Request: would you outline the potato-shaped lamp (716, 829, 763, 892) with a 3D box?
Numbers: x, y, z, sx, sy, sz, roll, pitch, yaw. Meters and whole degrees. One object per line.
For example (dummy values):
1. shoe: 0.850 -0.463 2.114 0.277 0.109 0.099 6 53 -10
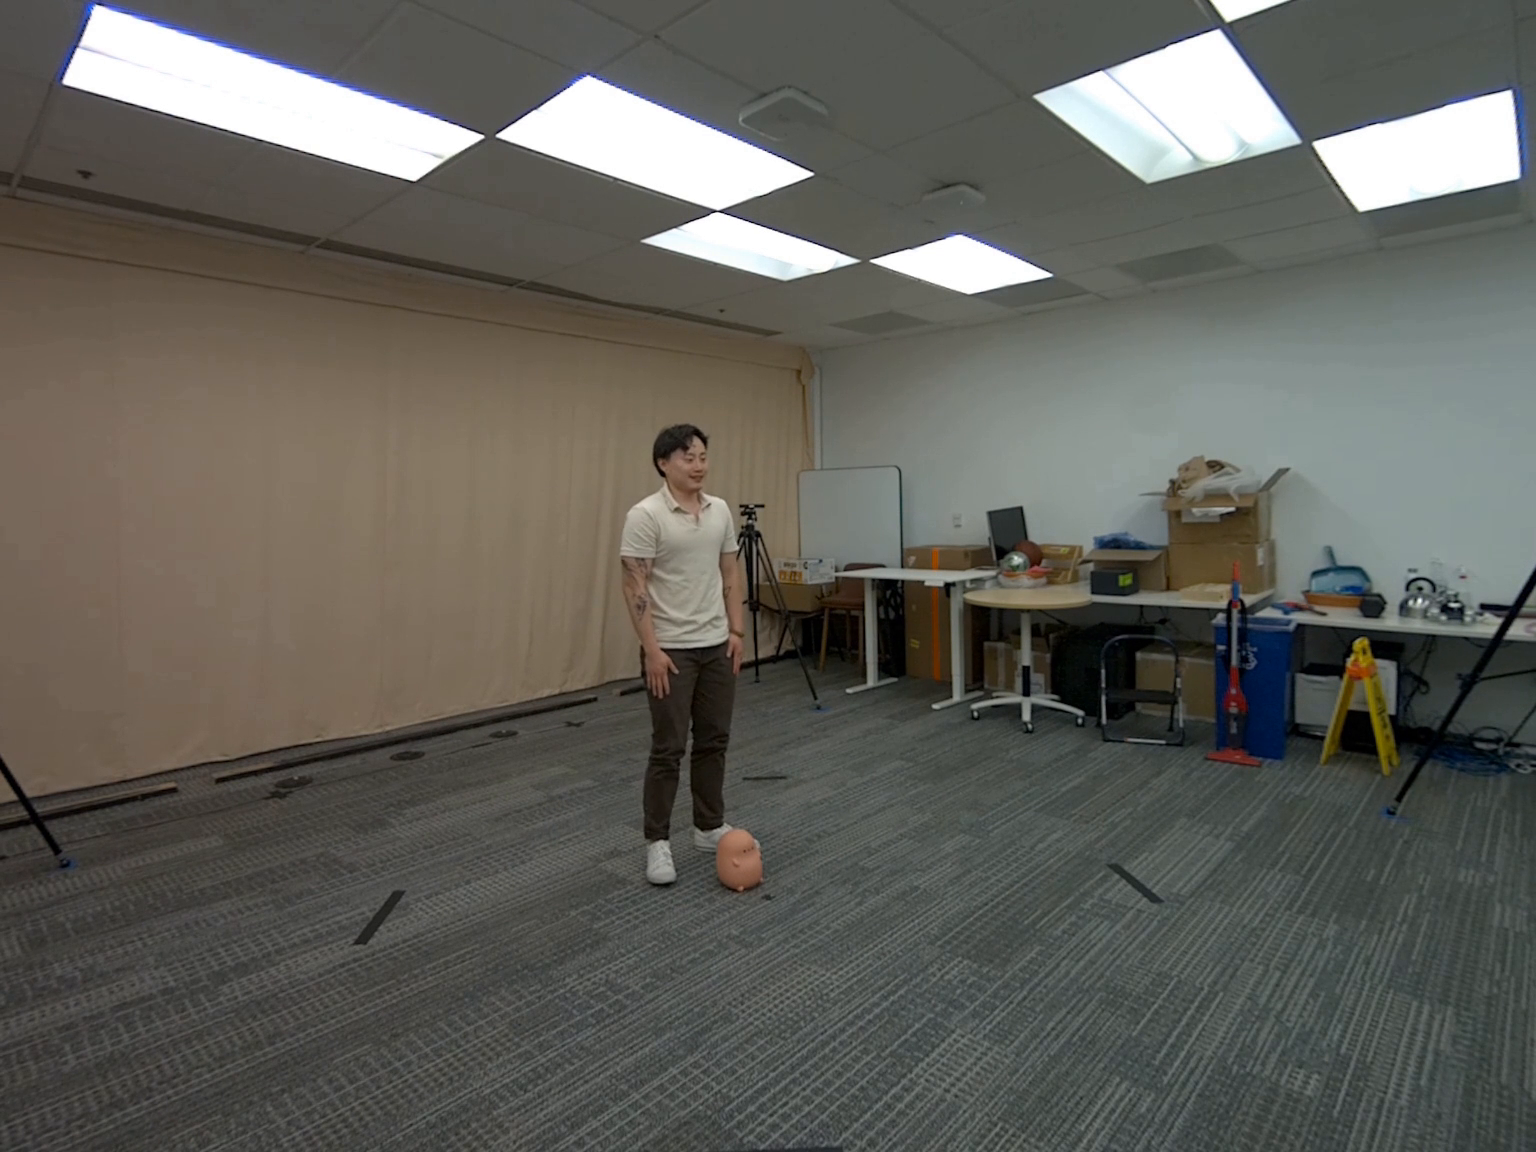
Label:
1. potato-shaped lamp: -0.105 1.032 3.088 0.177 0.198 0.159 3 3 42
